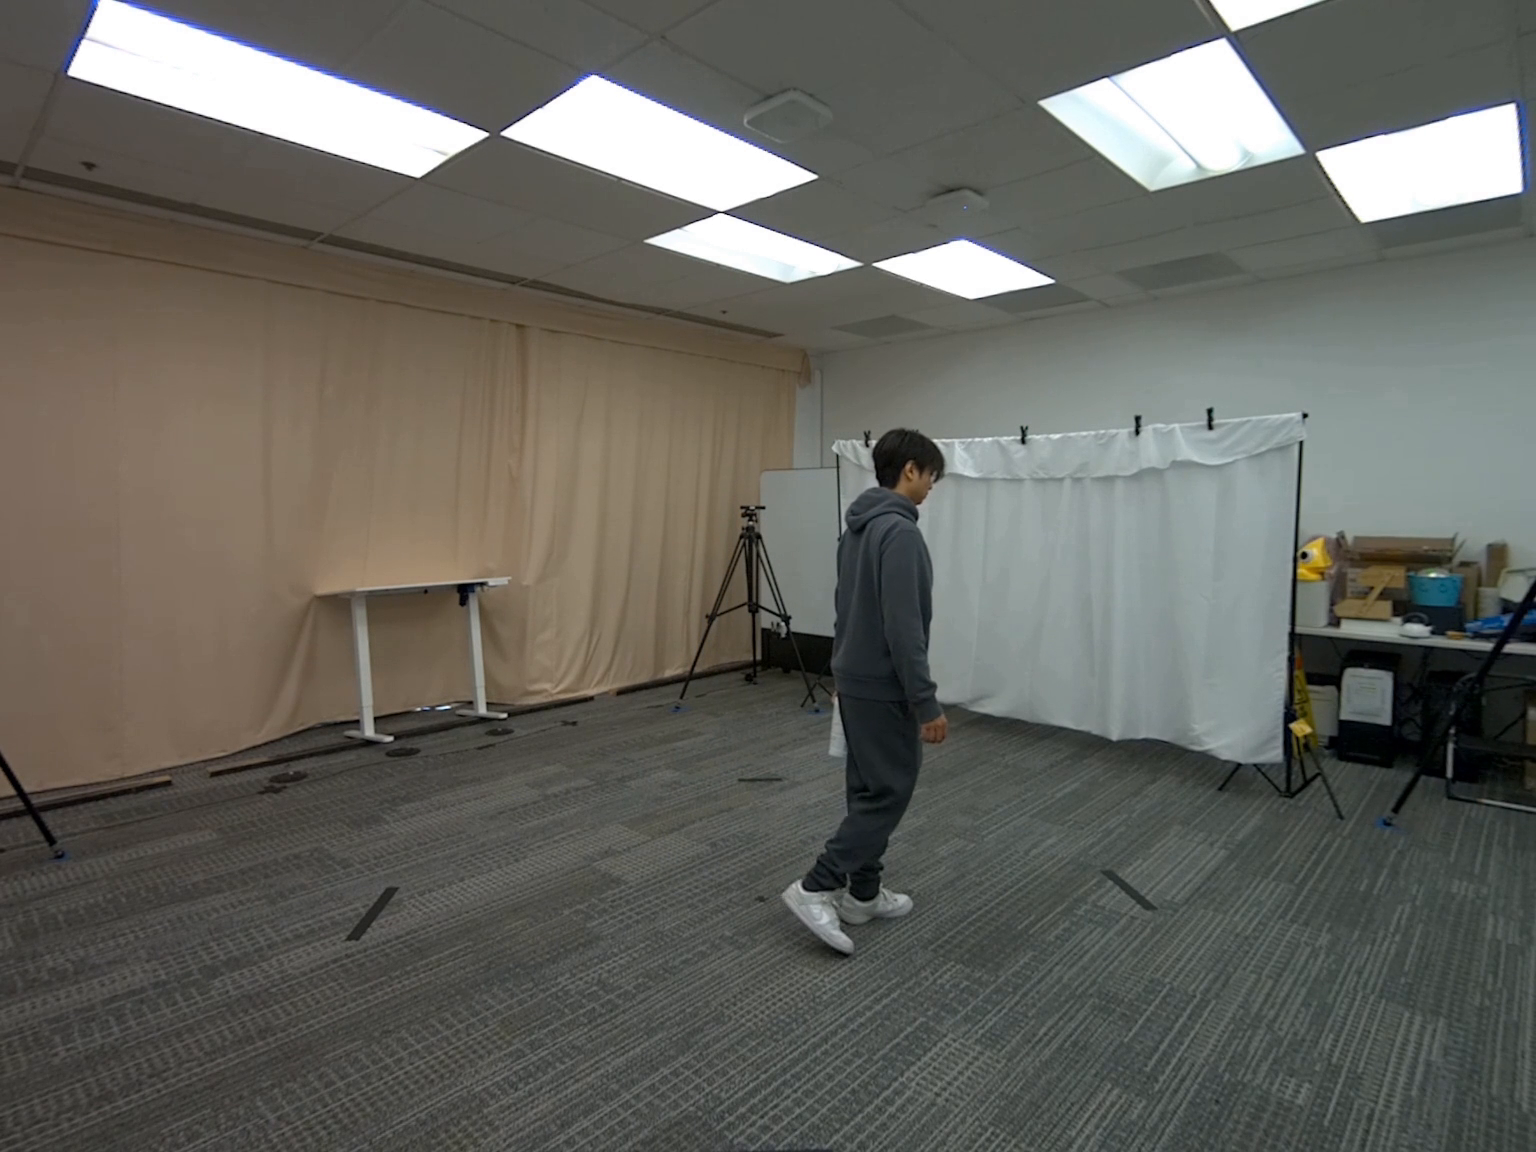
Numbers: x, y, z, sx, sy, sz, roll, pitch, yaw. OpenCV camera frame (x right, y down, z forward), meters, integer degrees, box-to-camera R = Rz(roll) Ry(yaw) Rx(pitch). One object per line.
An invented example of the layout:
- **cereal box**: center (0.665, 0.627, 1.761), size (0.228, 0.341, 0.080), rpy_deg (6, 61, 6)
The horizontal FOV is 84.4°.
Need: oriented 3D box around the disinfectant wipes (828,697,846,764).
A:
- **disinfectant wipes**: center (0.298, 0.560, 3.060), size (0.118, 0.218, 0.117), rpy_deg (8, -5, -1)
